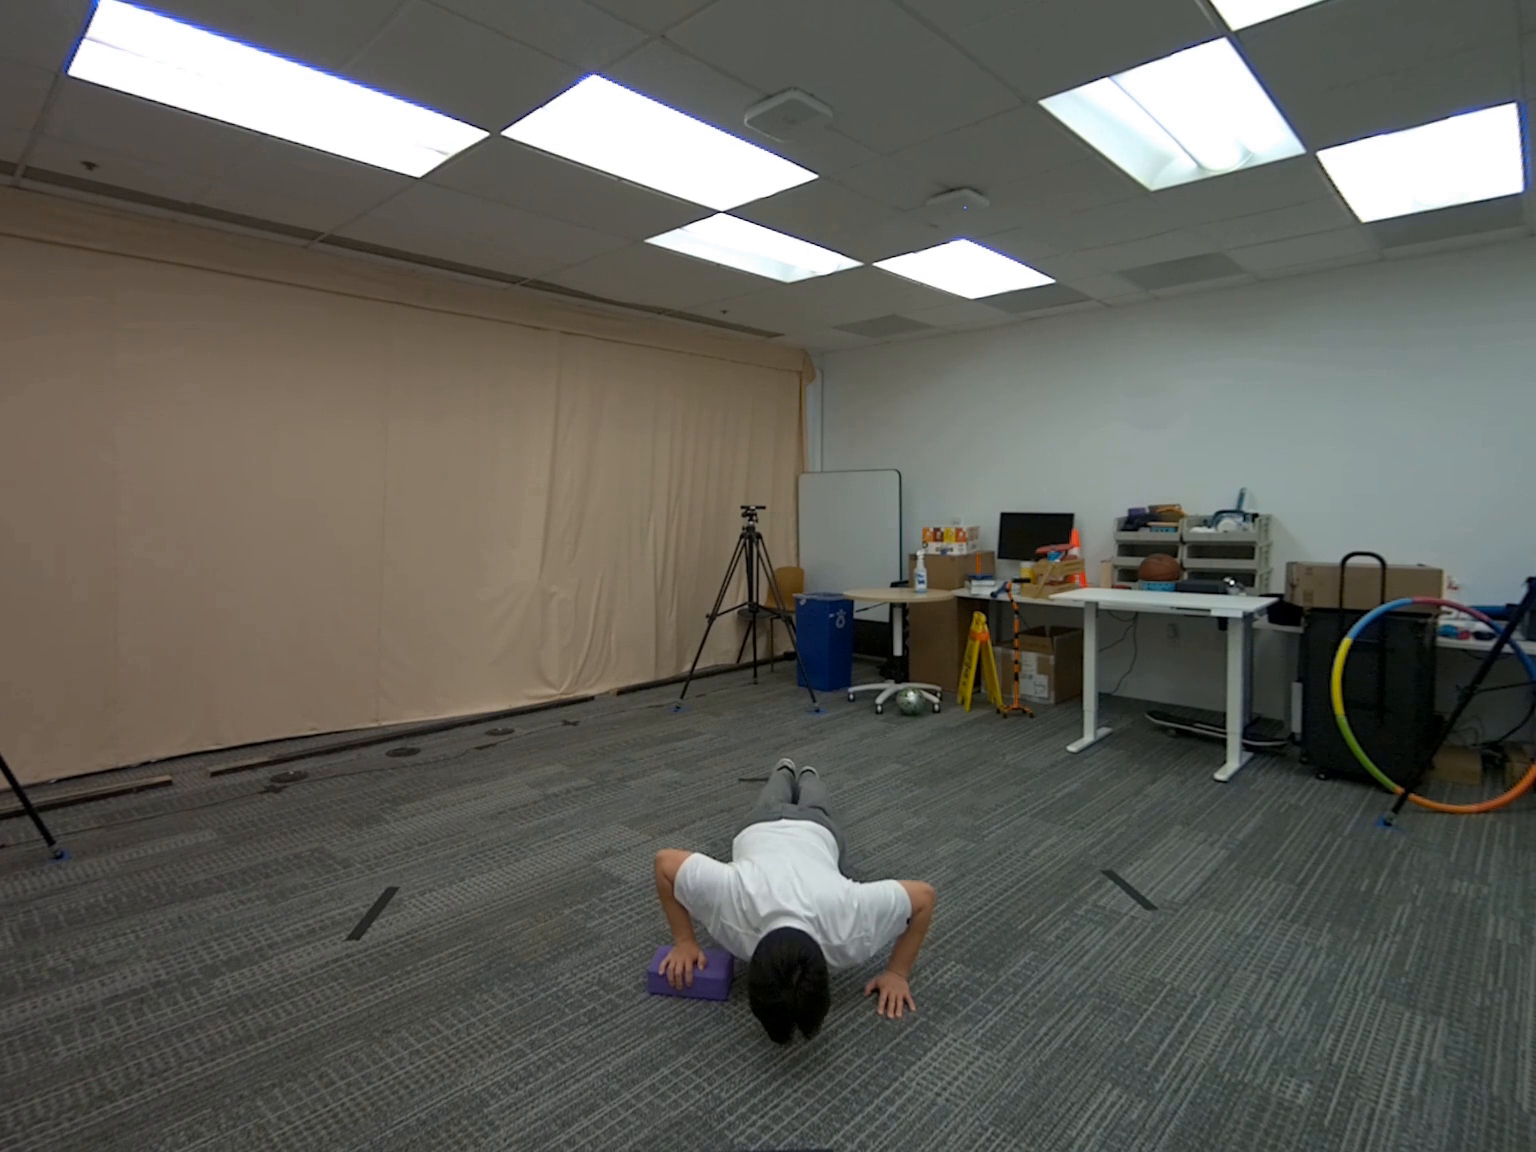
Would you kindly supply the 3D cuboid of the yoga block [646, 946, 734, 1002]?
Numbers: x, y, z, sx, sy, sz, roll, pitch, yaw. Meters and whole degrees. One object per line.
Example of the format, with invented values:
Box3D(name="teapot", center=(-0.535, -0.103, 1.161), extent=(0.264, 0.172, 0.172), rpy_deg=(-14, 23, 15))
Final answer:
Box3D(name="yoga block", center=(-0.219, 1.158, 2.447), extent=(0.232, 0.076, 0.147), rpy_deg=(1, 3, 12))
